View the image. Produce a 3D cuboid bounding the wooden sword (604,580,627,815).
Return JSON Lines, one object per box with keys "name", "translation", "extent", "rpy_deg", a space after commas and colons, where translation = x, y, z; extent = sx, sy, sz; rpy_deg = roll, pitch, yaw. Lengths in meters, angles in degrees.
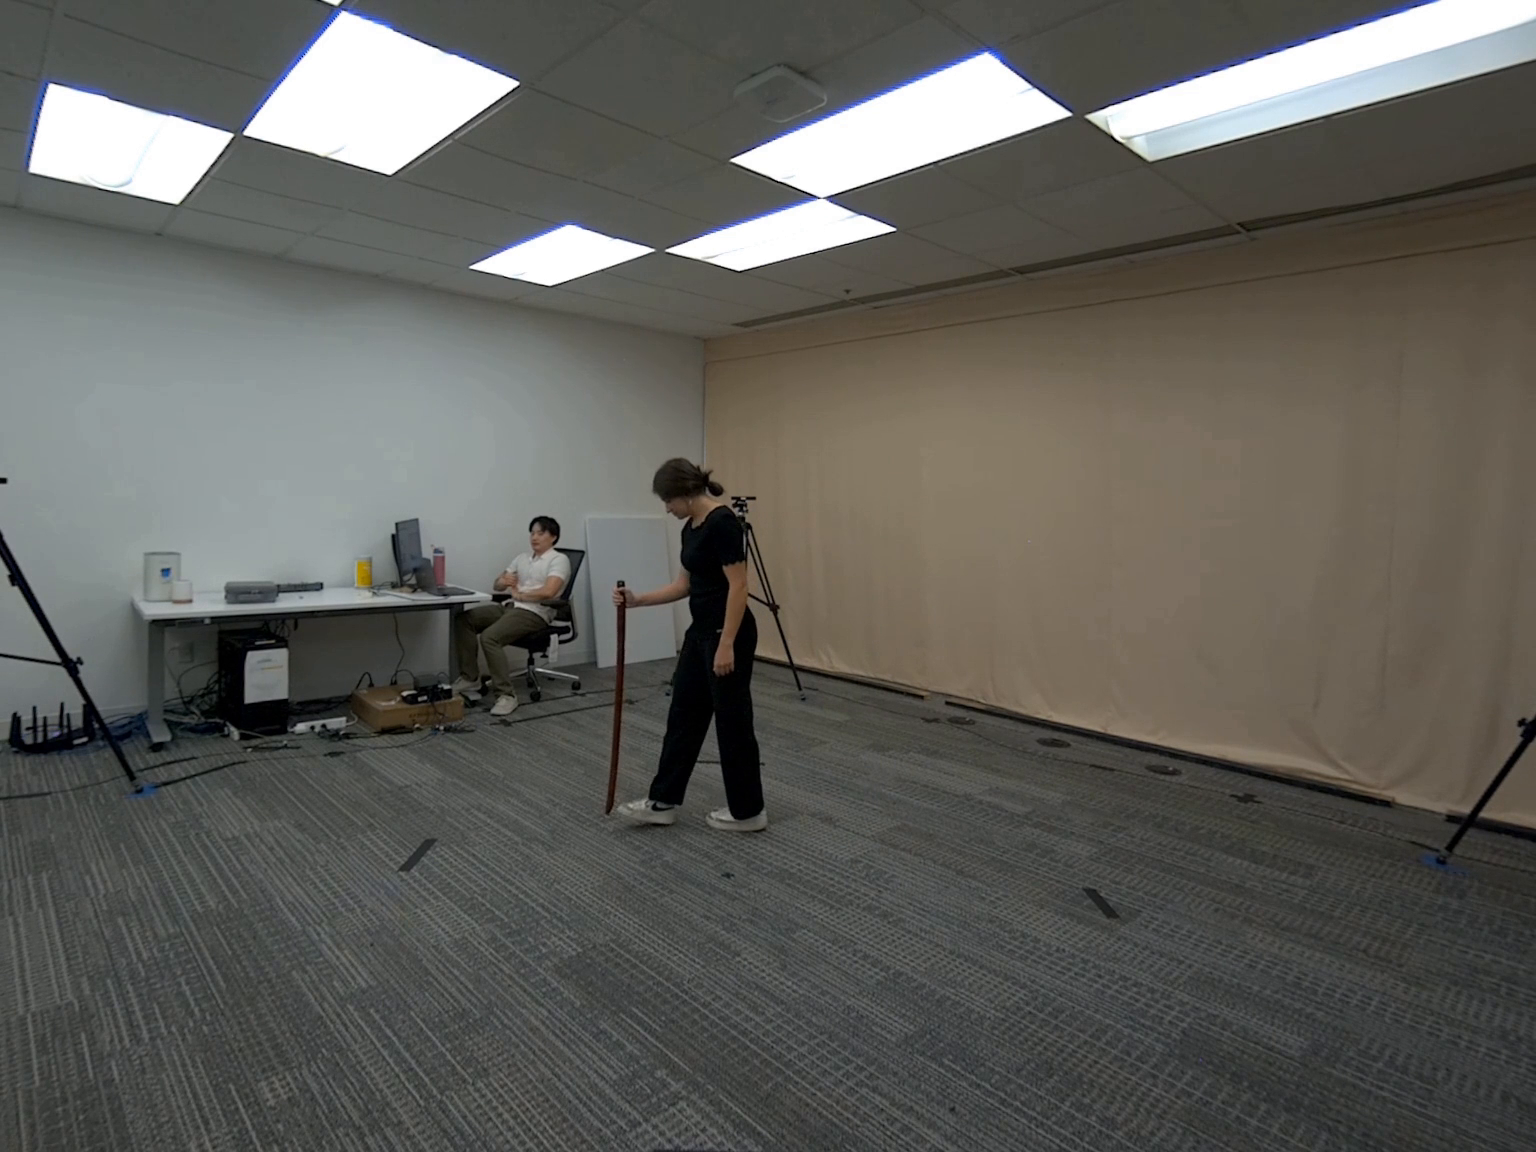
{"name": "wooden sword", "translation": [-0.661, 0.538, 3.644], "extent": [0.051, 1.022, 0.024], "rpy_deg": [3, 4, -15]}
